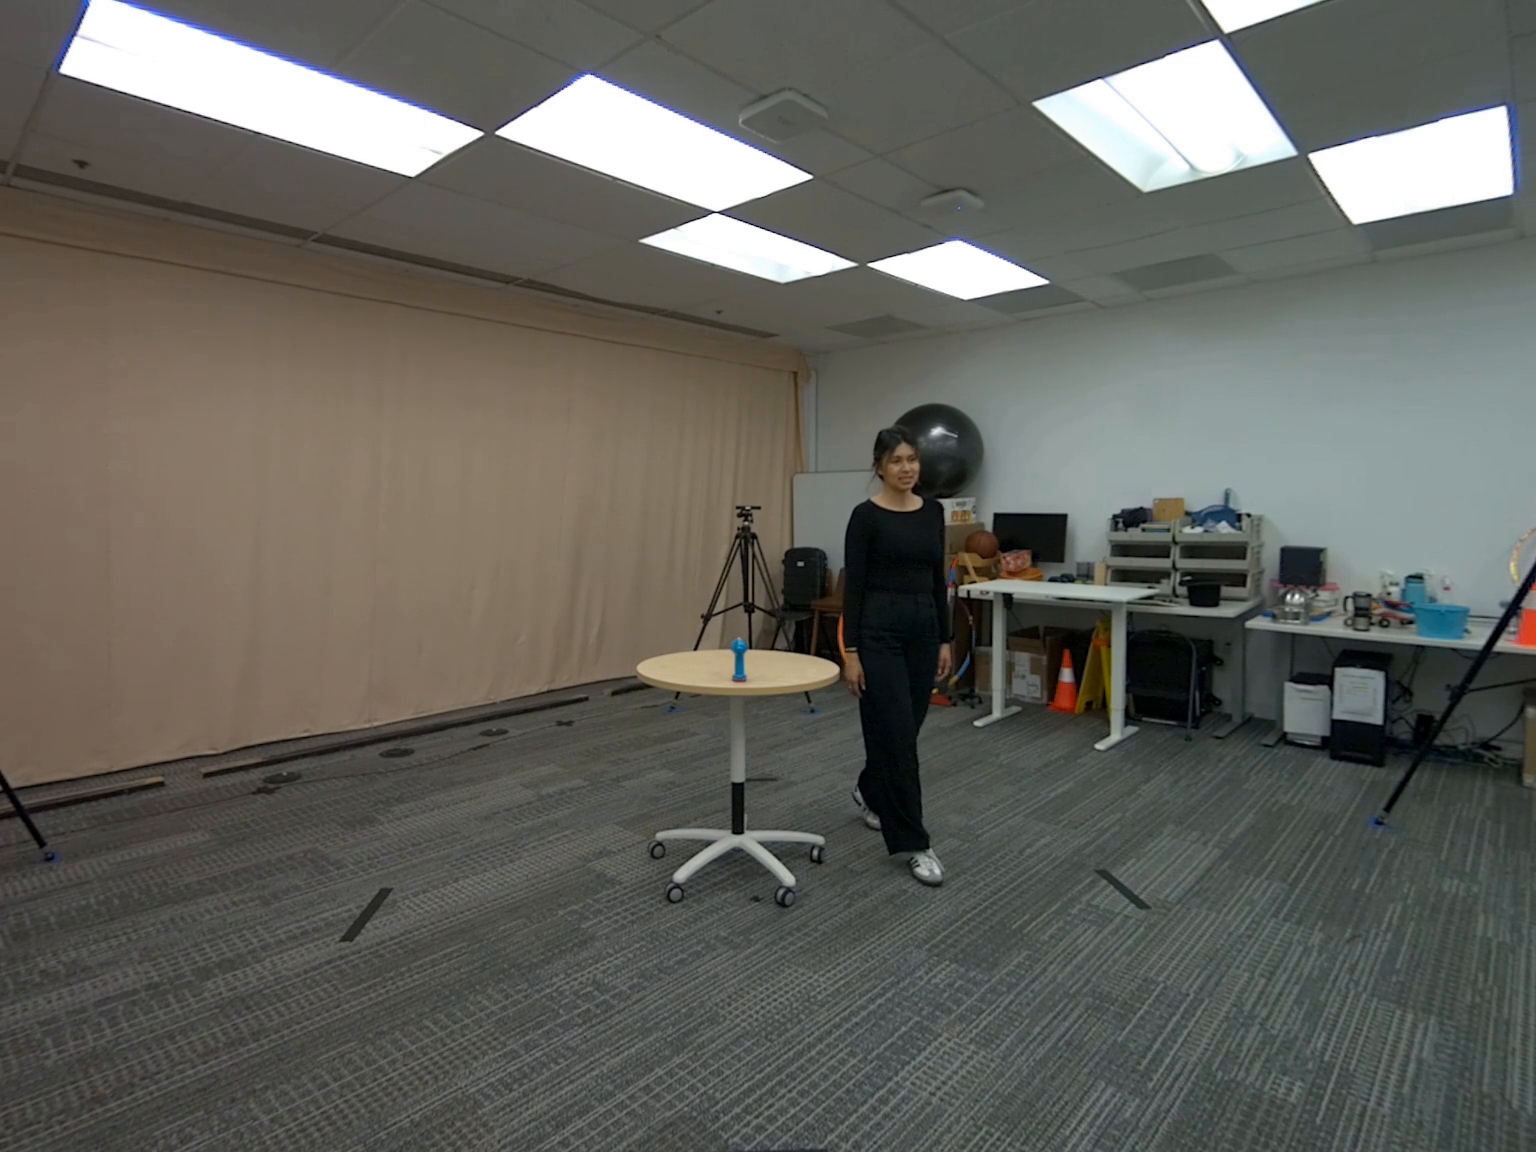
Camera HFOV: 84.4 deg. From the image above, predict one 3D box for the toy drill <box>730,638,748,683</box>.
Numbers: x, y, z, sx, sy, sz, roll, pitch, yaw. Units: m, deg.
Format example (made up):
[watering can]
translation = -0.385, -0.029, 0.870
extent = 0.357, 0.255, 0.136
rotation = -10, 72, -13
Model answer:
[toy drill]
translation = -0.099, 0.292, 2.964
extent = 0.061, 0.146, 0.171
rotation = 0, 3, -6
